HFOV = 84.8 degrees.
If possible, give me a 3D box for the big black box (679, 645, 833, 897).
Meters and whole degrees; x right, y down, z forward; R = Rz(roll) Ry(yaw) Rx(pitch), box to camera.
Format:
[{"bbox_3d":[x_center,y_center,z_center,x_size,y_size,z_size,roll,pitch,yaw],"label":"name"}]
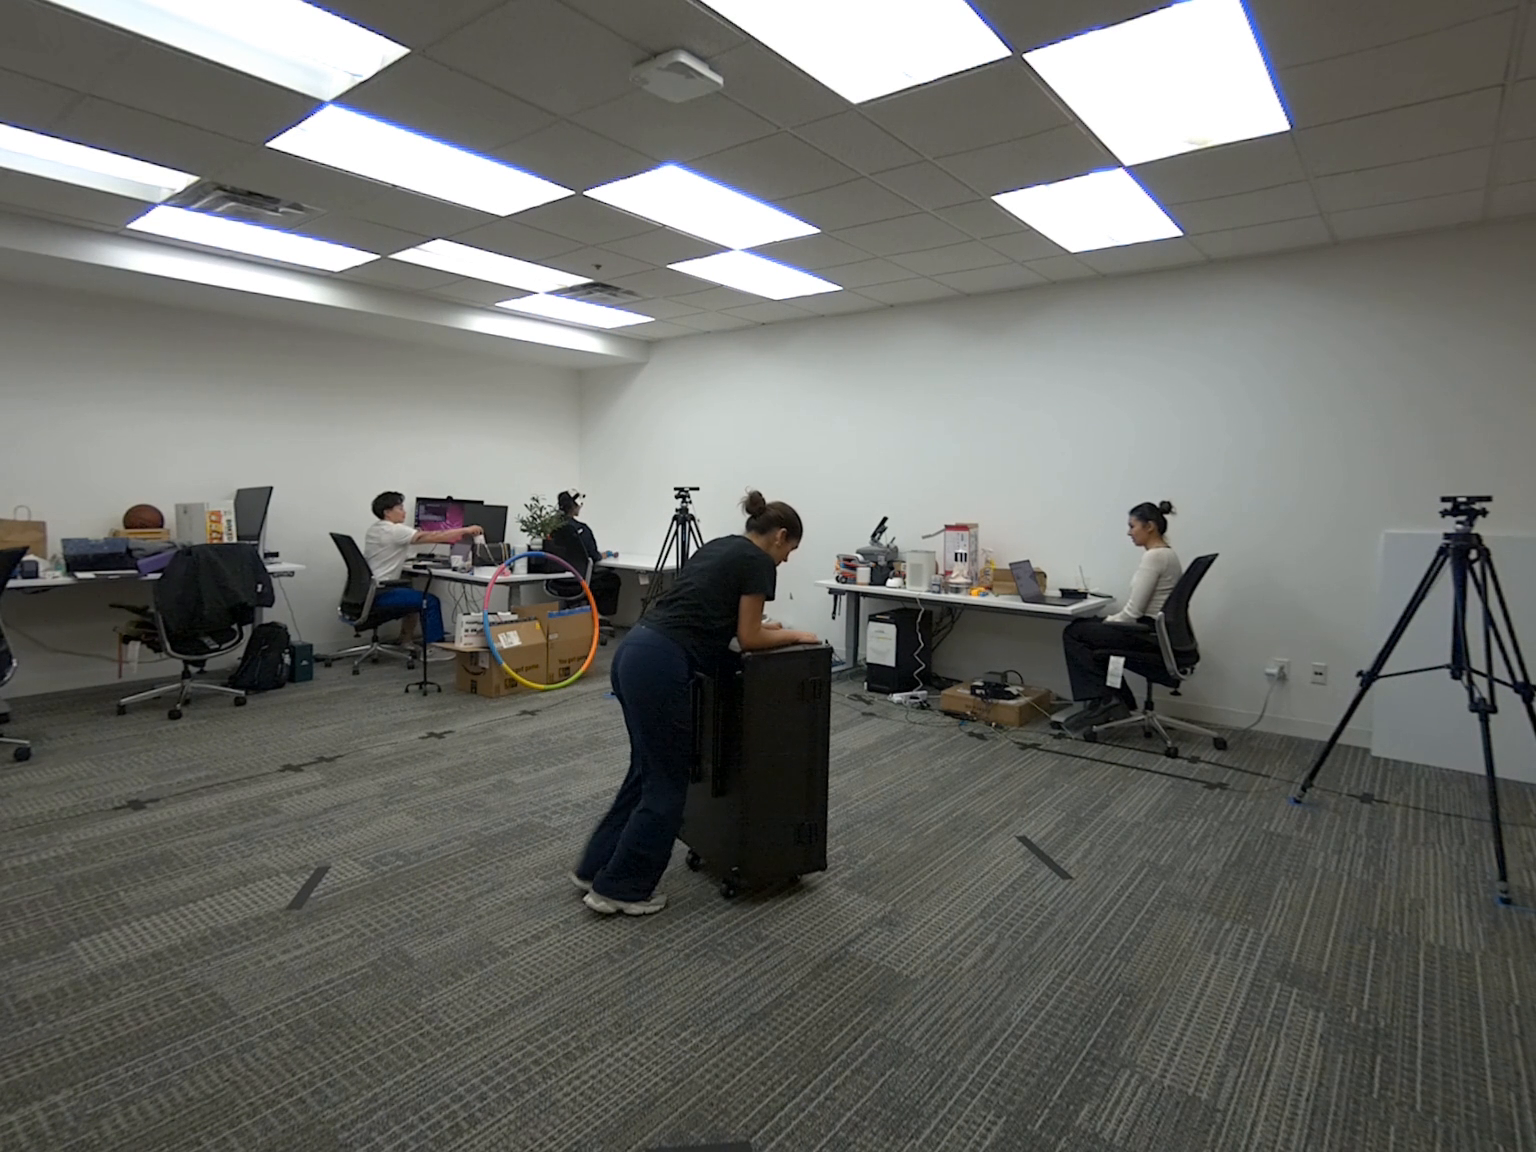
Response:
[{"bbox_3d":[-0.057,0.587,3.071,0.386,0.859,0.537,0,4,-30],"label":"big black box"}]
